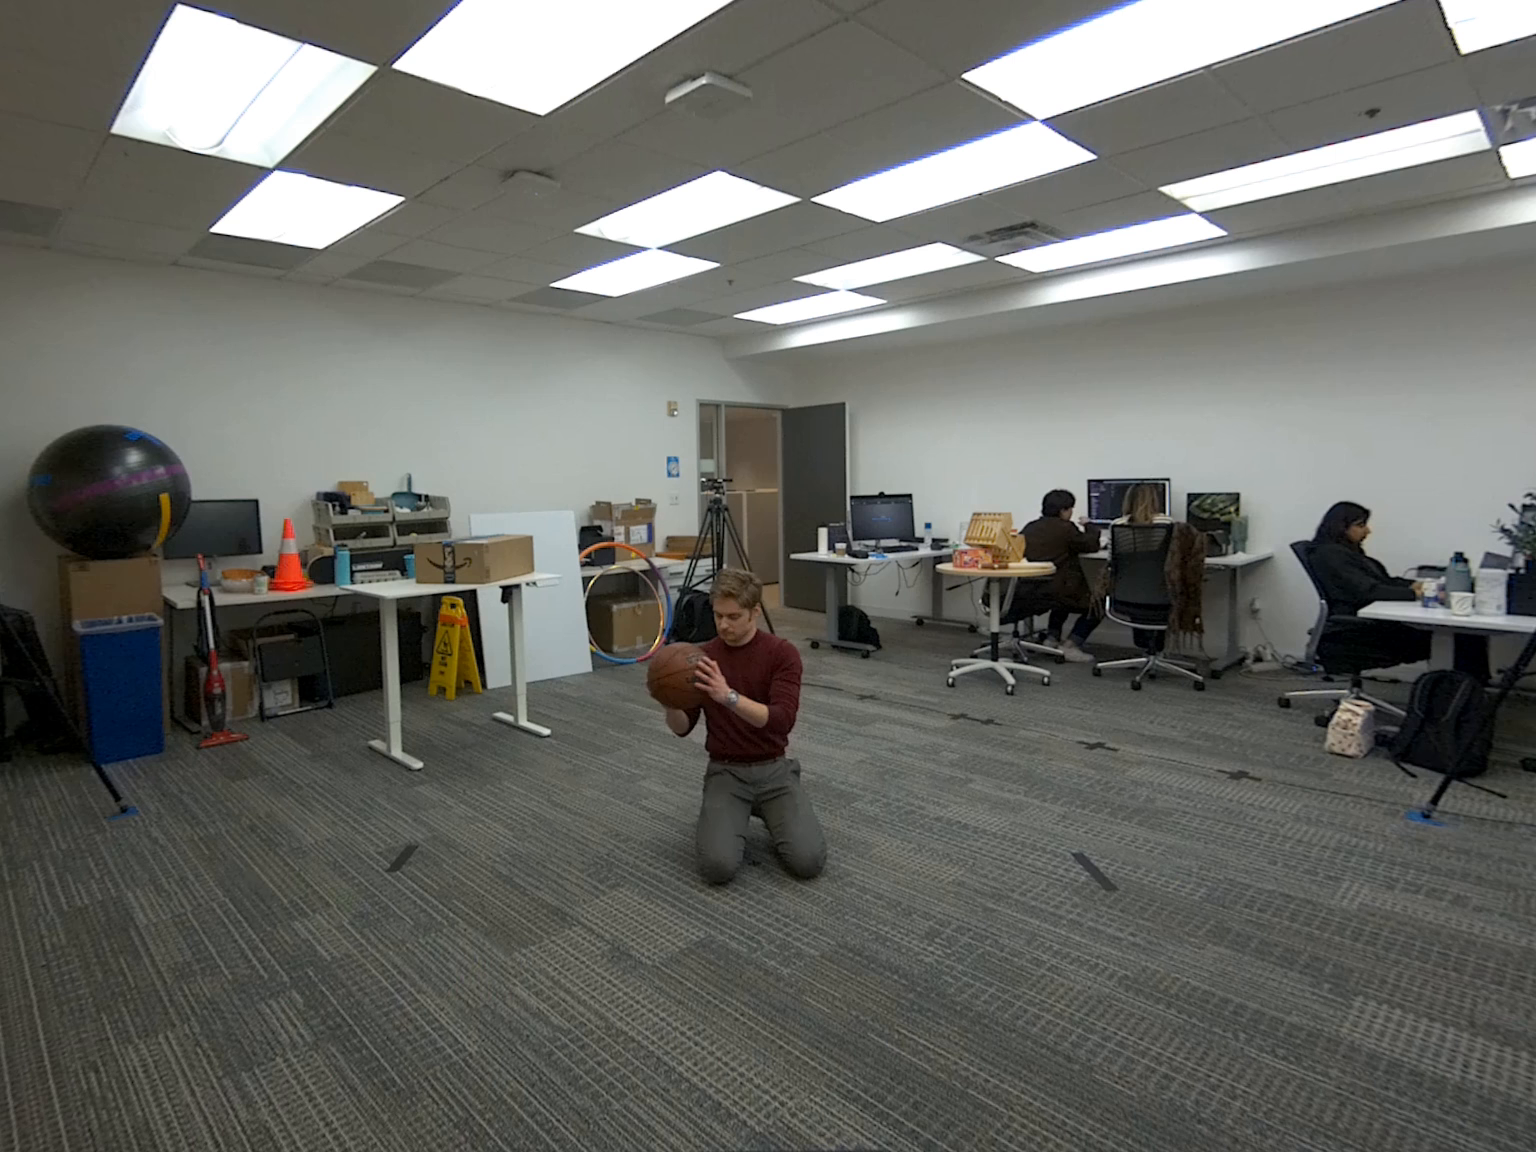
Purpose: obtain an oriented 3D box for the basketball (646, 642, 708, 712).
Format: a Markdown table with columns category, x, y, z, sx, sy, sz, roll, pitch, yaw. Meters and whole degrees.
| category | x | y | z | sx | sy | sz | roll | pitch | yaw |
| --- | --- | --- | --- | --- | --- | --- | --- | --- | --- |
| basketball | -0.311 | 0.377 | 3.061 | 0.236 | 0.235 | 0.237 | -1 | 5 | -2 |
